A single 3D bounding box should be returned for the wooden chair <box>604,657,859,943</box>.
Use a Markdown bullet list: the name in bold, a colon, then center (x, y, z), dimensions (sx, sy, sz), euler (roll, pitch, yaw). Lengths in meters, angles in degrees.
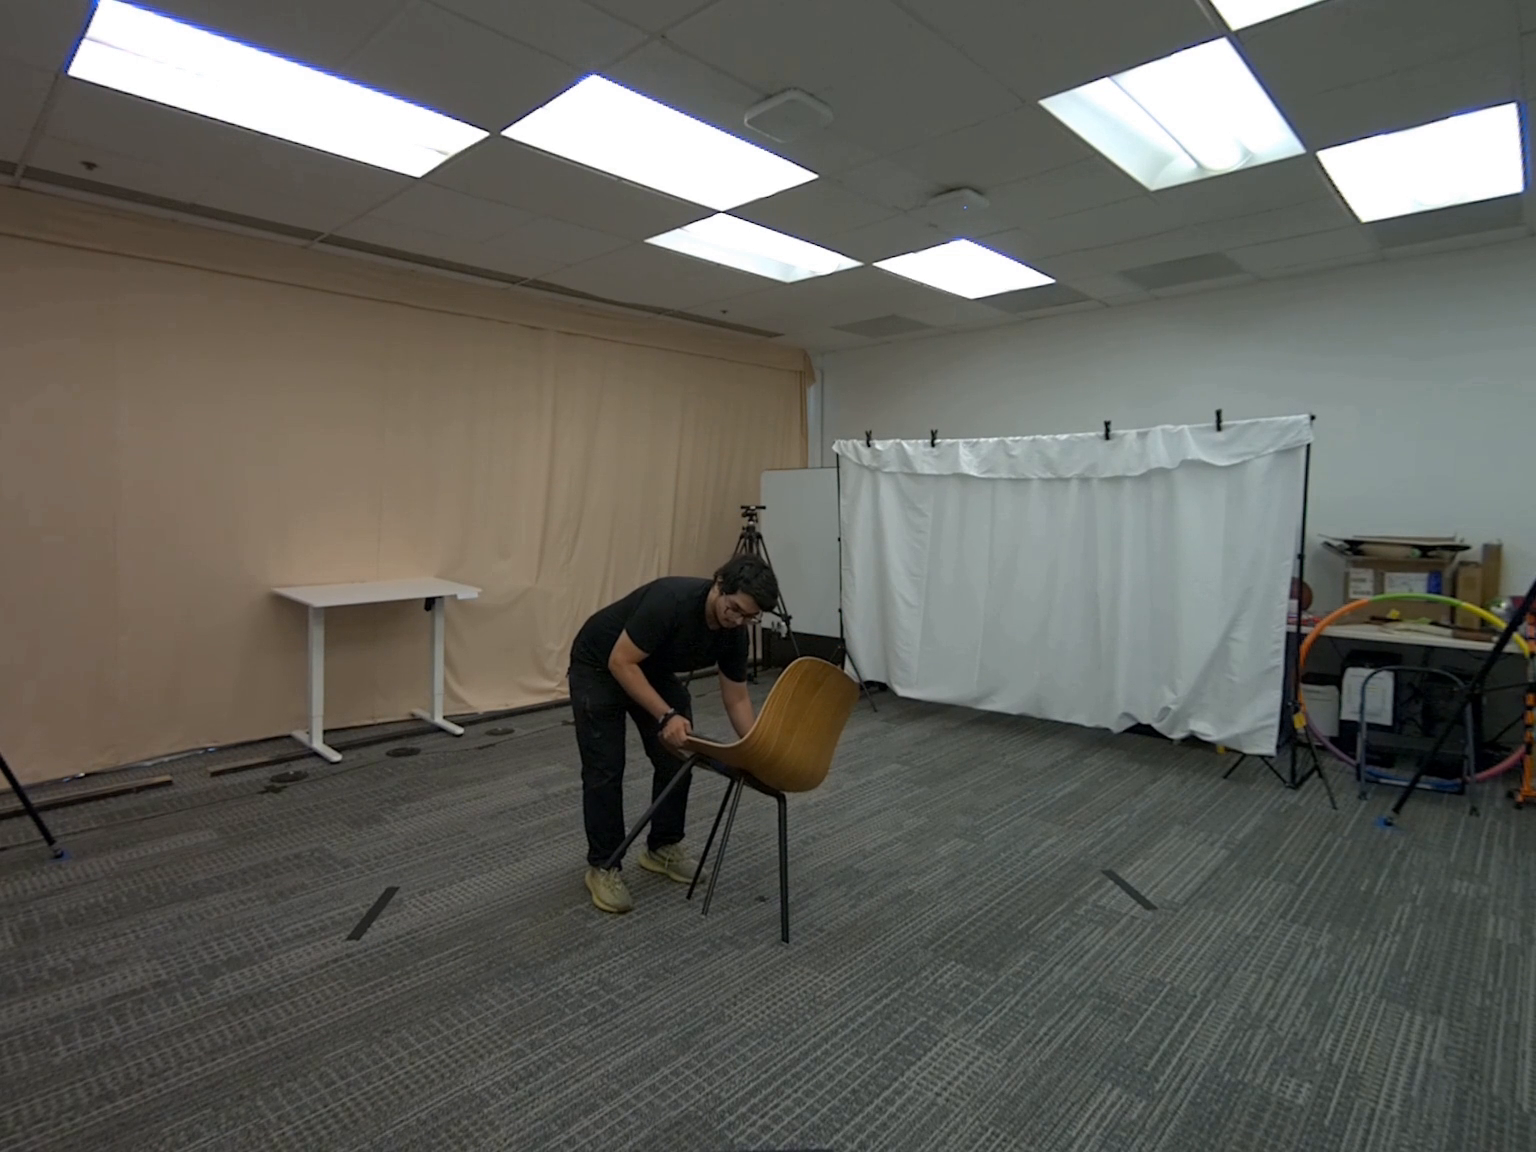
- **wooden chair**: center (-0.092, 0.680, 2.816), dimensions (0.541, 0.879, 0.461), euler (7, -22, 44)
